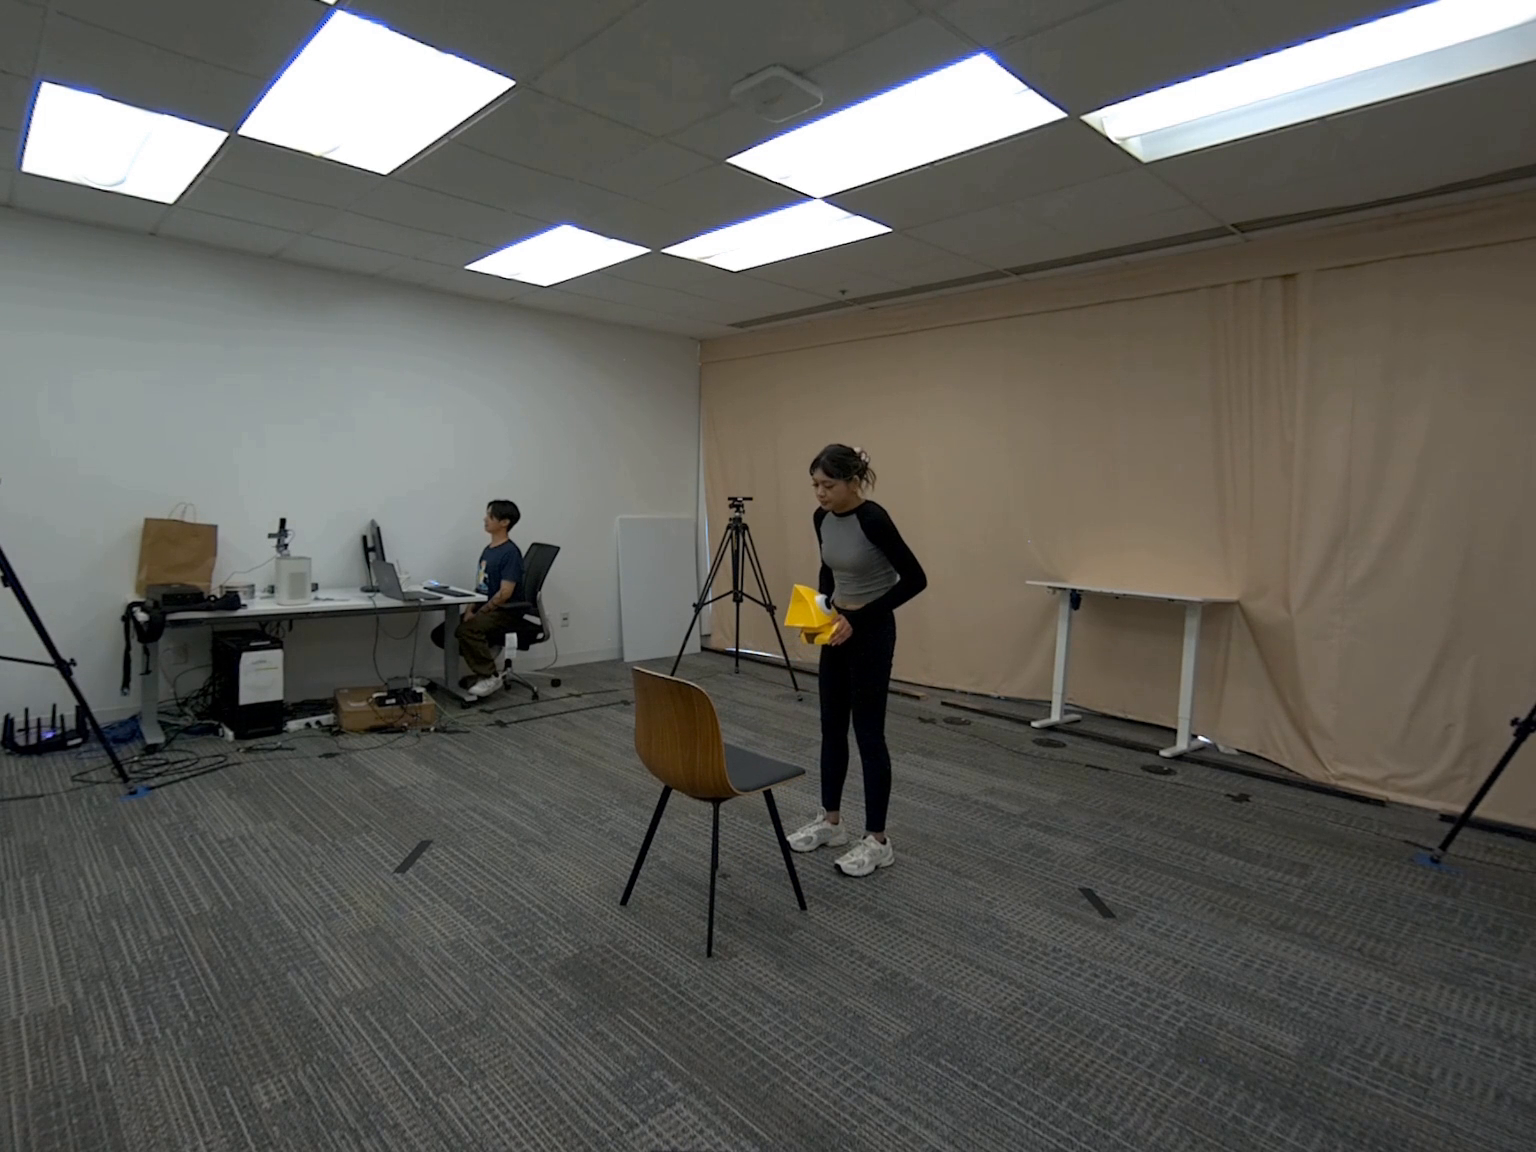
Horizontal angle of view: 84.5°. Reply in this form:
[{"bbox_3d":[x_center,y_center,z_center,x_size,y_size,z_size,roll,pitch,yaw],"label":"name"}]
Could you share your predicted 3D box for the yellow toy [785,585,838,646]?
[{"bbox_3d":[0.168,0.124,3.139,0.190,0.229,0.209,-22,10,-31],"label":"yellow toy"}]
